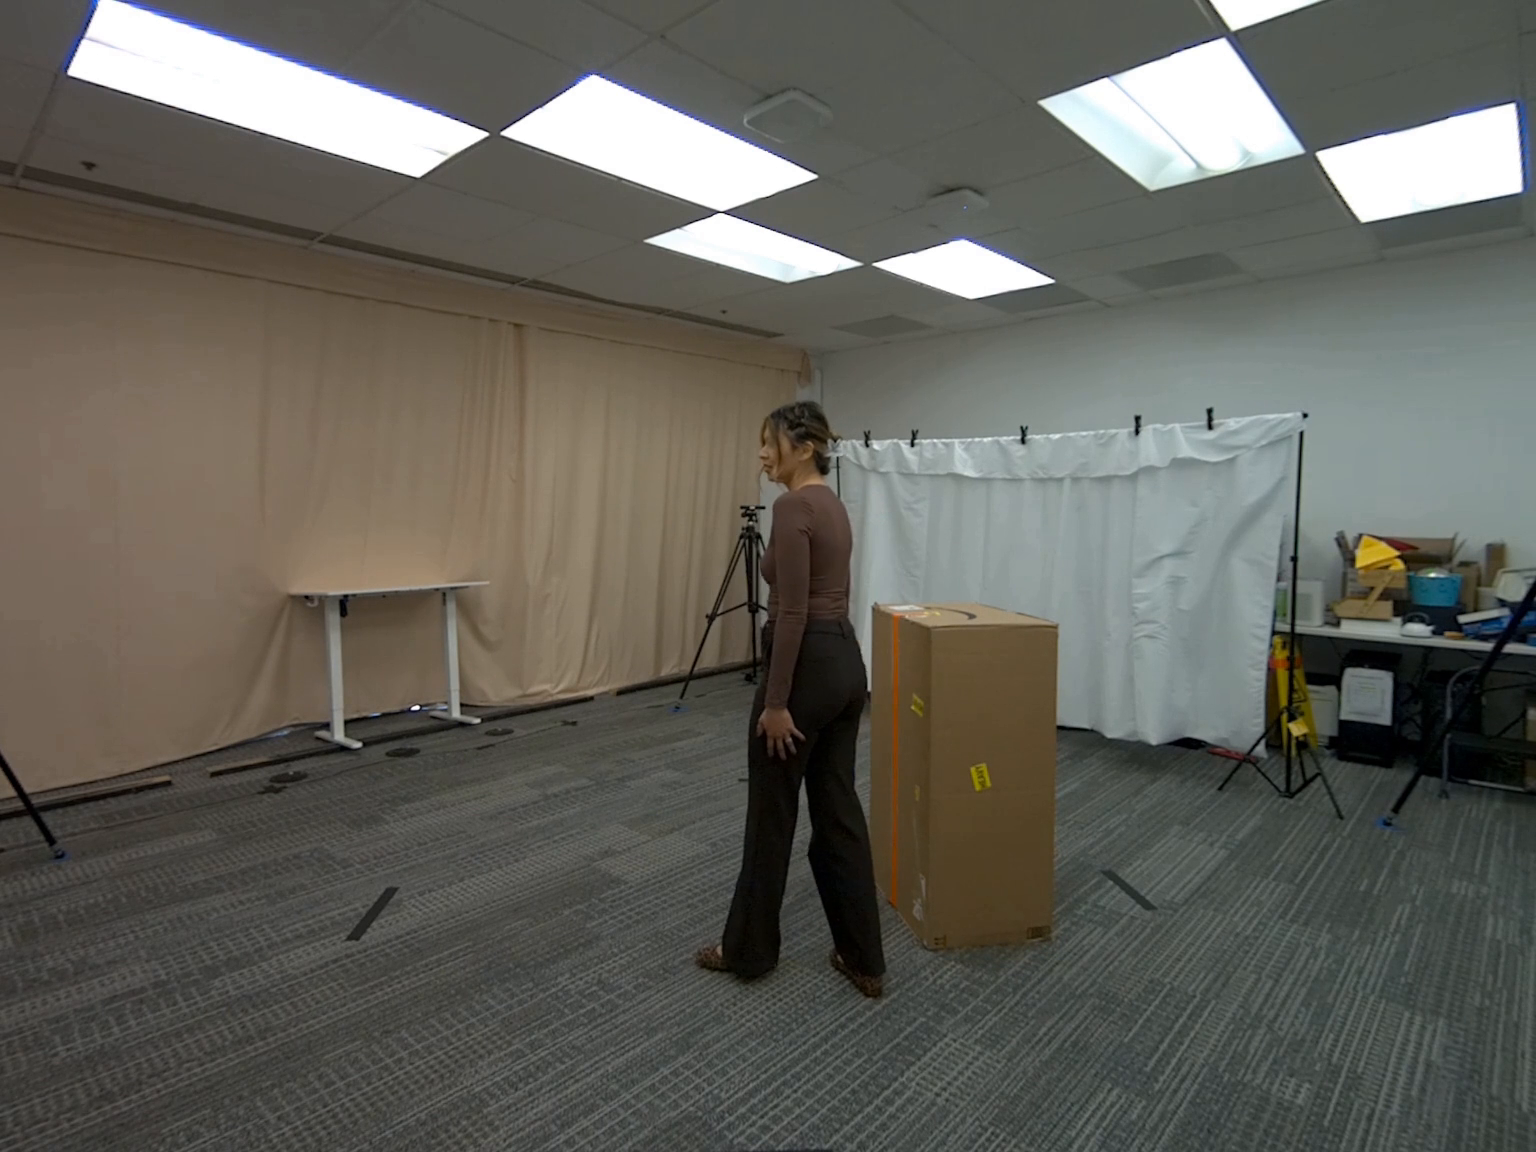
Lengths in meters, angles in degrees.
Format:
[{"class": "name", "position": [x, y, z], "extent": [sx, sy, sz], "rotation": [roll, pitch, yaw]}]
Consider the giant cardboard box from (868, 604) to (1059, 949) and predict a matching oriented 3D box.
[{"class": "giant cardboard box", "position": [0.655, 0.634, 2.915], "extent": [0.442, 1.025, 0.591], "rotation": [-1, 3, -10]}]
